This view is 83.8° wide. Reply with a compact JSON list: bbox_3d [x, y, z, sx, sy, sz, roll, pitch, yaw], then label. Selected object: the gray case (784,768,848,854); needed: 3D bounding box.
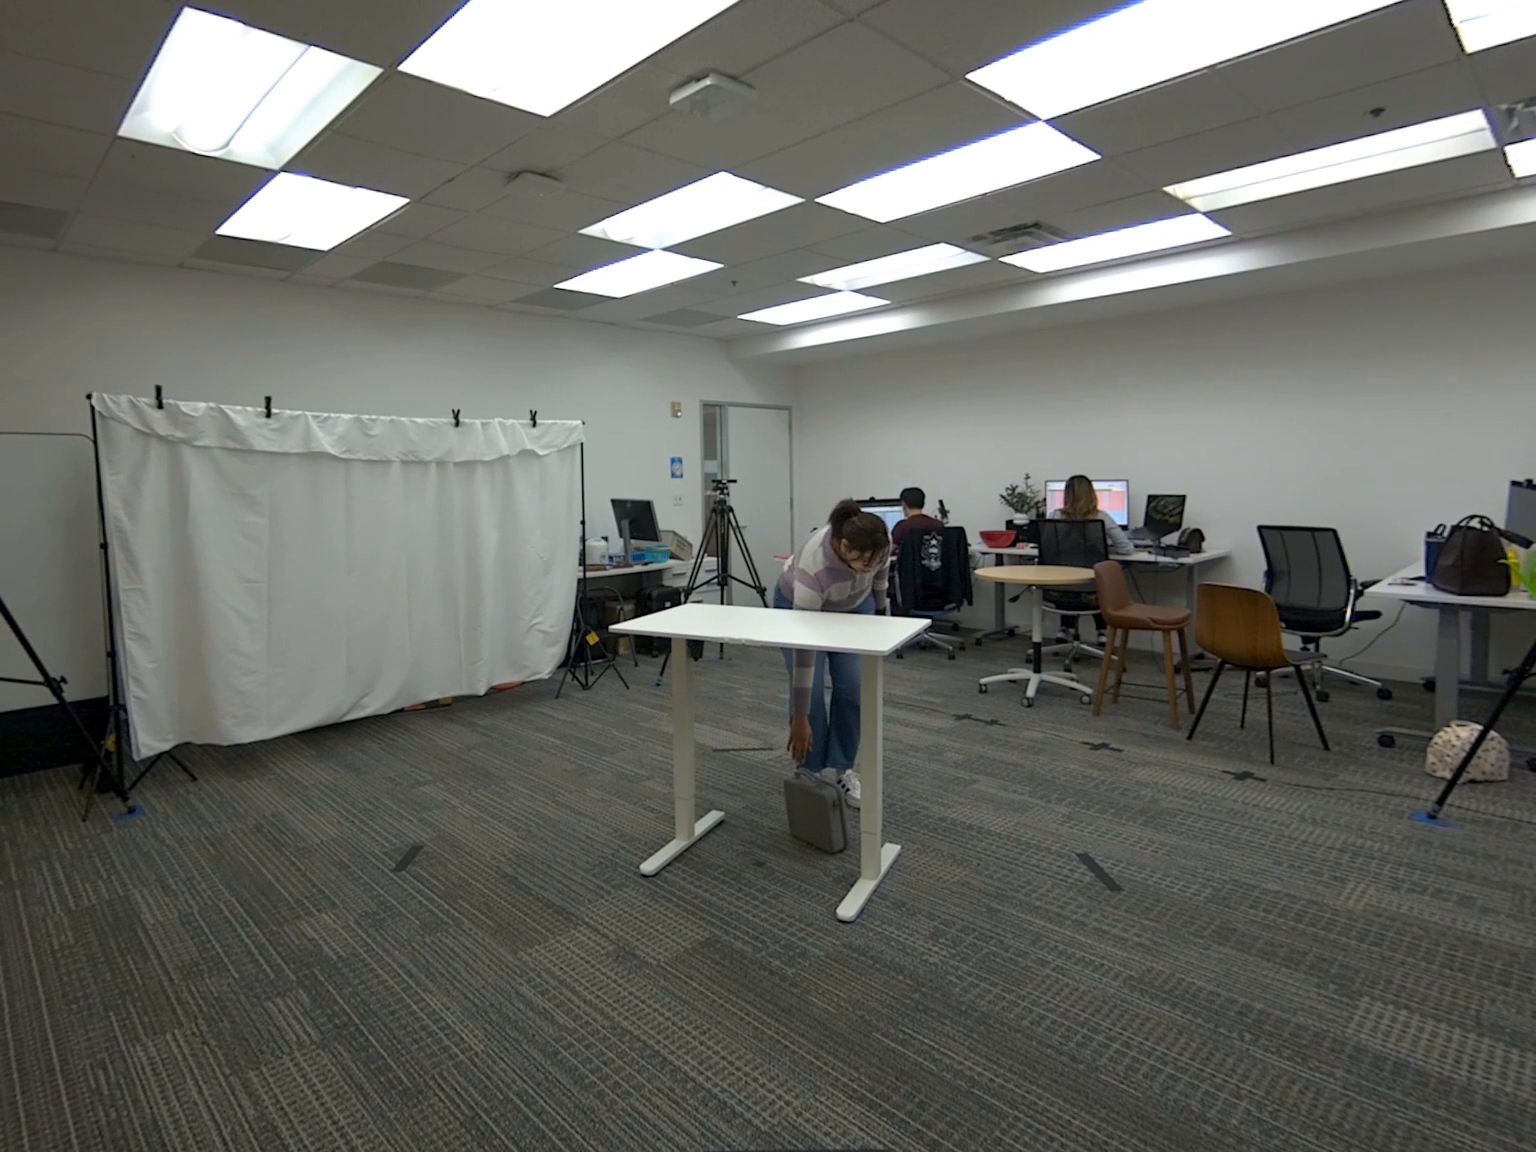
[{"bbox_3d":[0.189,0.899,3.264,0.102,0.258,0.265,-13,12,-36],"label":"gray case"}]
